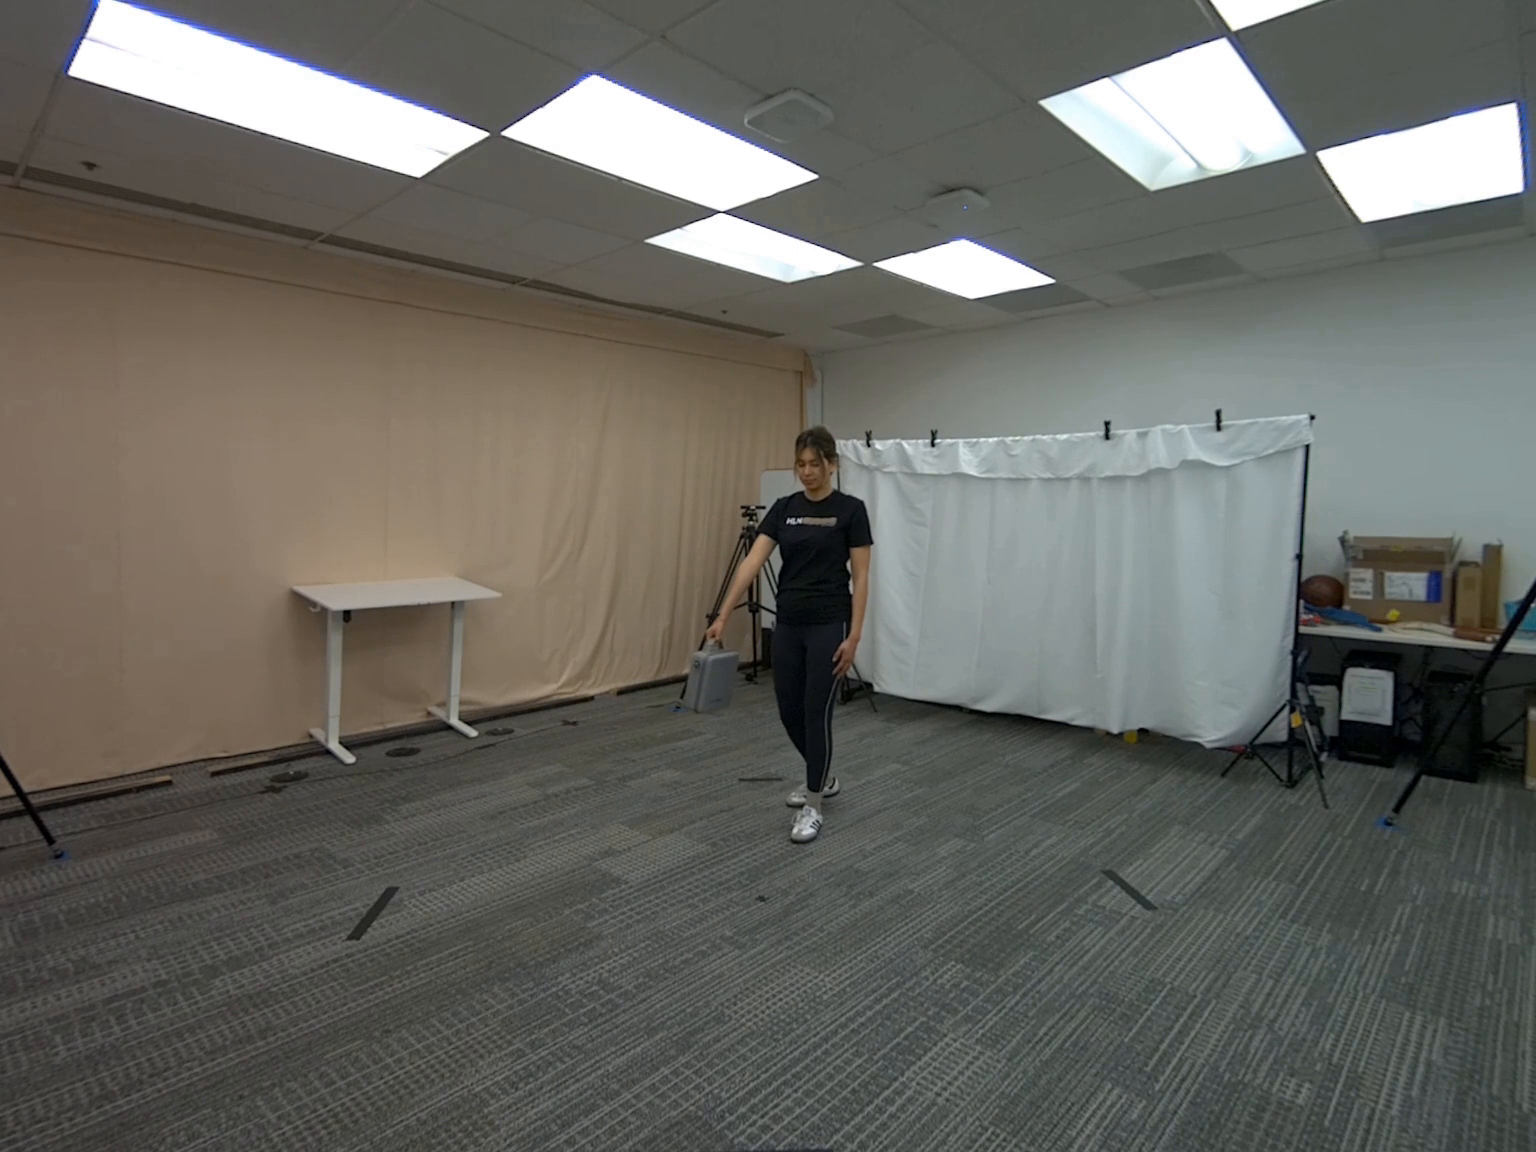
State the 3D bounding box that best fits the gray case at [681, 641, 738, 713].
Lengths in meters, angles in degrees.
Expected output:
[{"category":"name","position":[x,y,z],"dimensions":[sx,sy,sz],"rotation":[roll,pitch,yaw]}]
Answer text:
[{"category":"gray case","position":[-0.234,0.435,3.571],"dimensions":[0.107,0.260,0.249],"rotation":[11,4,29]}]
